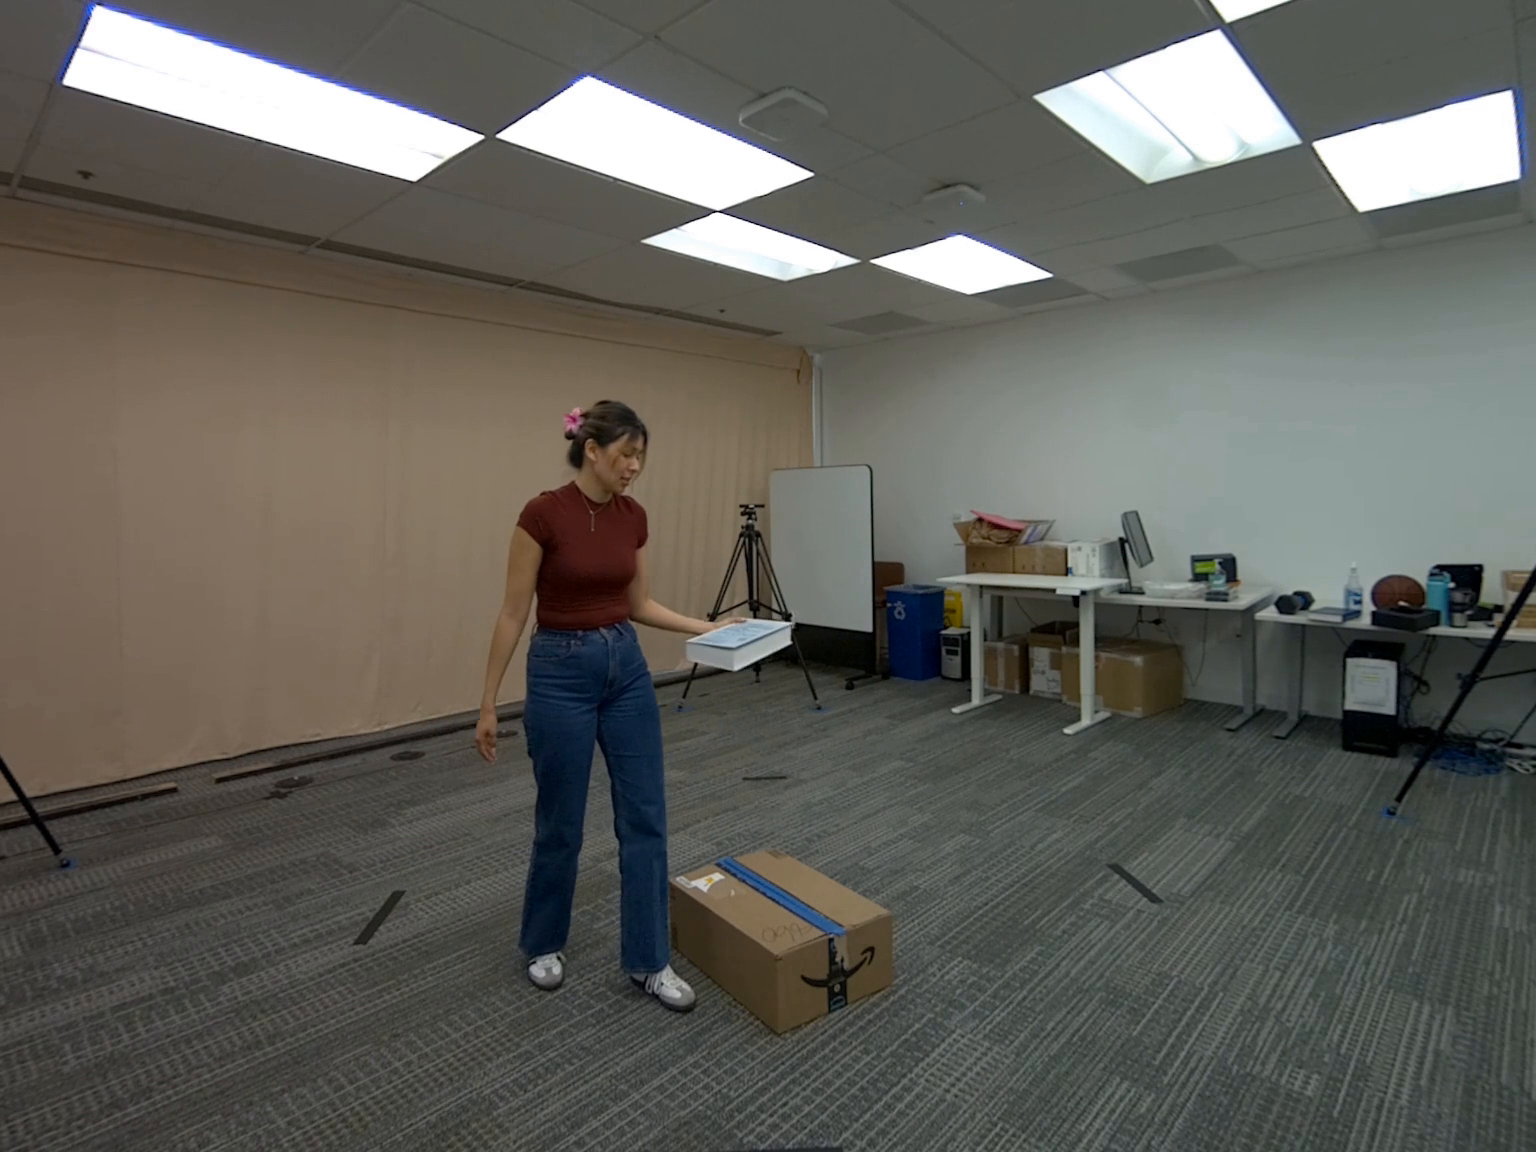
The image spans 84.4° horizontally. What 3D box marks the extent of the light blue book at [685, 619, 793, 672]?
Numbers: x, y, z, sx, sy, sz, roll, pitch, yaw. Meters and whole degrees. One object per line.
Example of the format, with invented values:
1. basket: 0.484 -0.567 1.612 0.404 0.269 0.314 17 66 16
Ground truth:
1. light blue book: -0.076 0.196 2.404 0.198 0.058 0.254 4 16 41
